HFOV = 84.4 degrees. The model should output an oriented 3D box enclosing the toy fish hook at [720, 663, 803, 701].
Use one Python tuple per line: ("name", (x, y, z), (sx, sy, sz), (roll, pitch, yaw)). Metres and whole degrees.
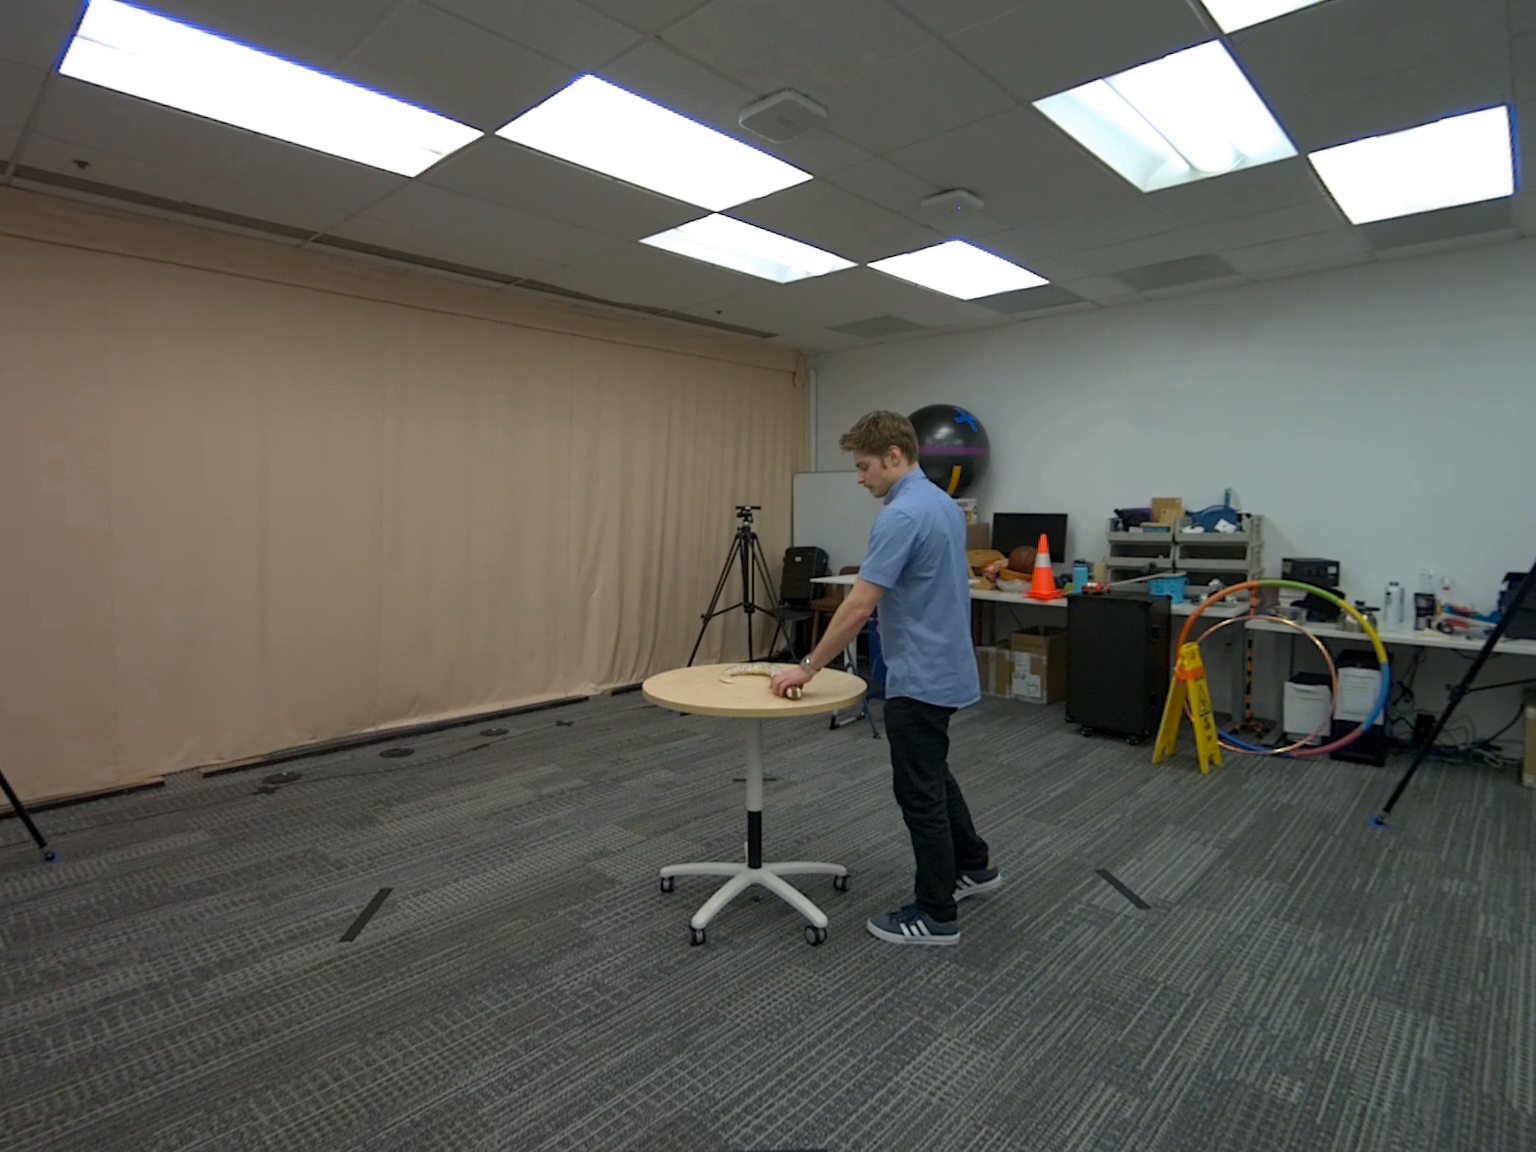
("toy fish hook", (-0.026, 0.363, 2.849), (0.222, 0.048, 0.514), (-10, 6, -13))
